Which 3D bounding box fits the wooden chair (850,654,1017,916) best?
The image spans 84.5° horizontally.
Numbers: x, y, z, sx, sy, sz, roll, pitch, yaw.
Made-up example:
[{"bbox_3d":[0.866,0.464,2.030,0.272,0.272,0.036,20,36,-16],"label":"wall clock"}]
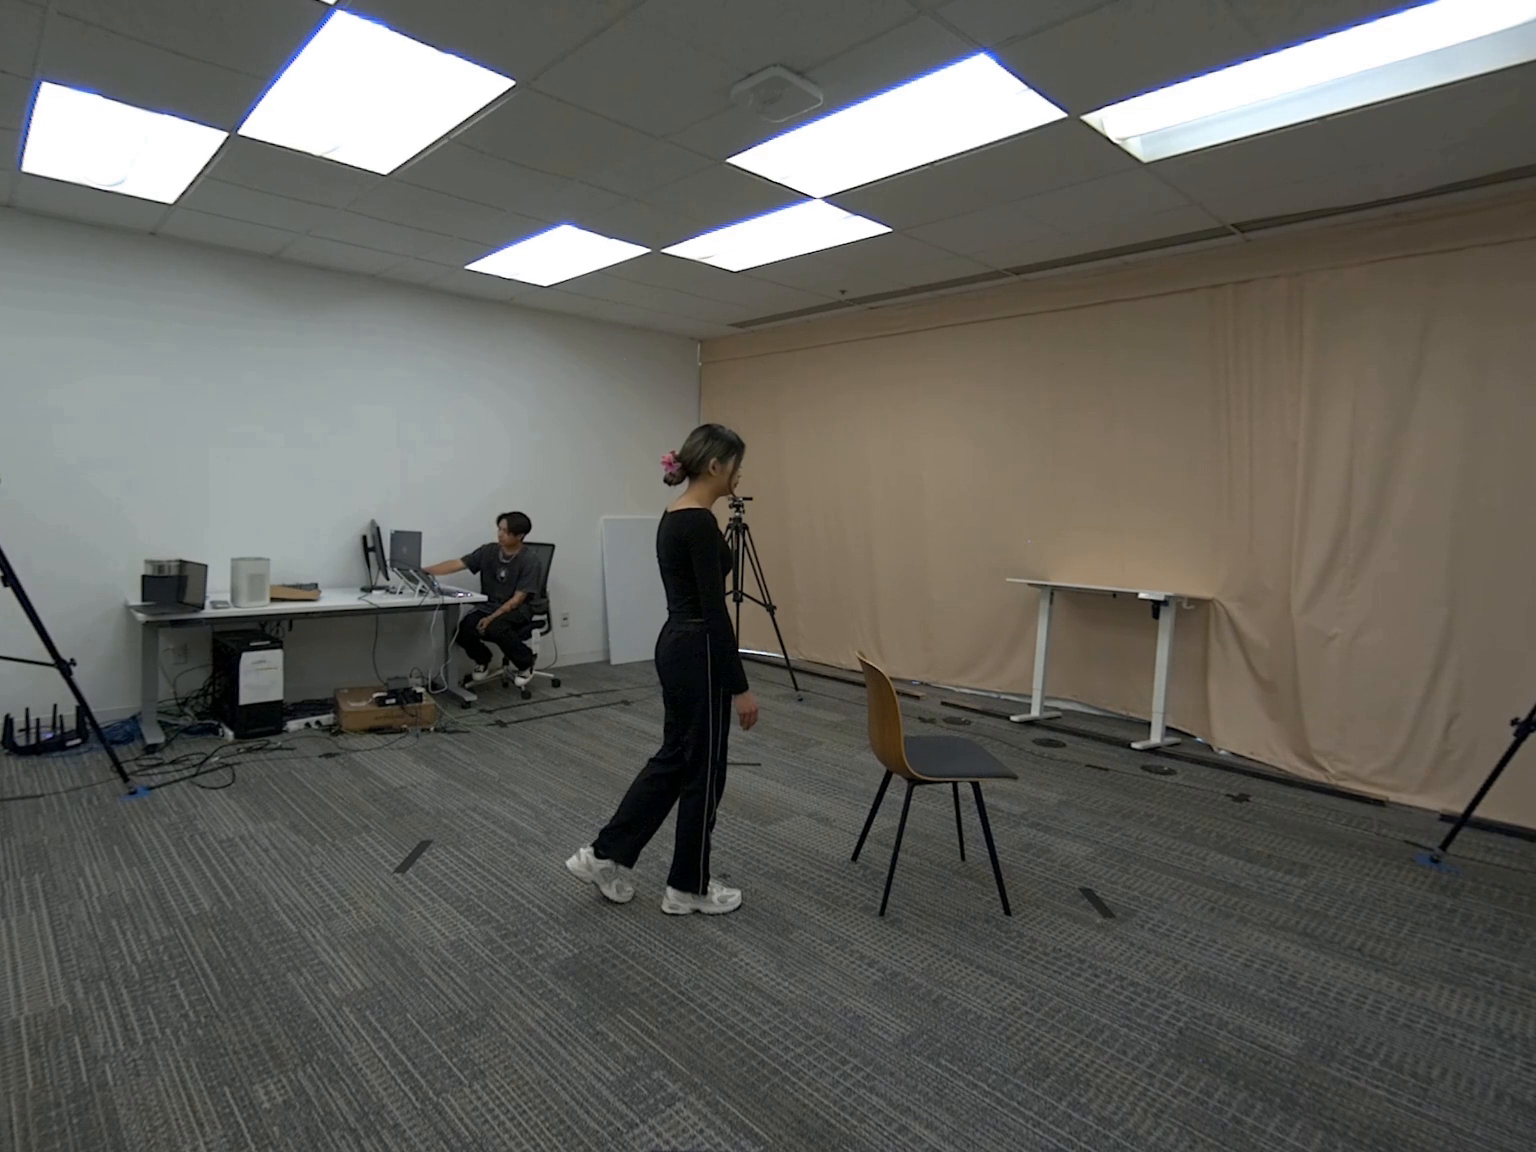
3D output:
[{"bbox_3d":[0.589,0.705,3.035,0.521,0.875,0.481,-2,3,-5],"label":"wooden chair"}]
